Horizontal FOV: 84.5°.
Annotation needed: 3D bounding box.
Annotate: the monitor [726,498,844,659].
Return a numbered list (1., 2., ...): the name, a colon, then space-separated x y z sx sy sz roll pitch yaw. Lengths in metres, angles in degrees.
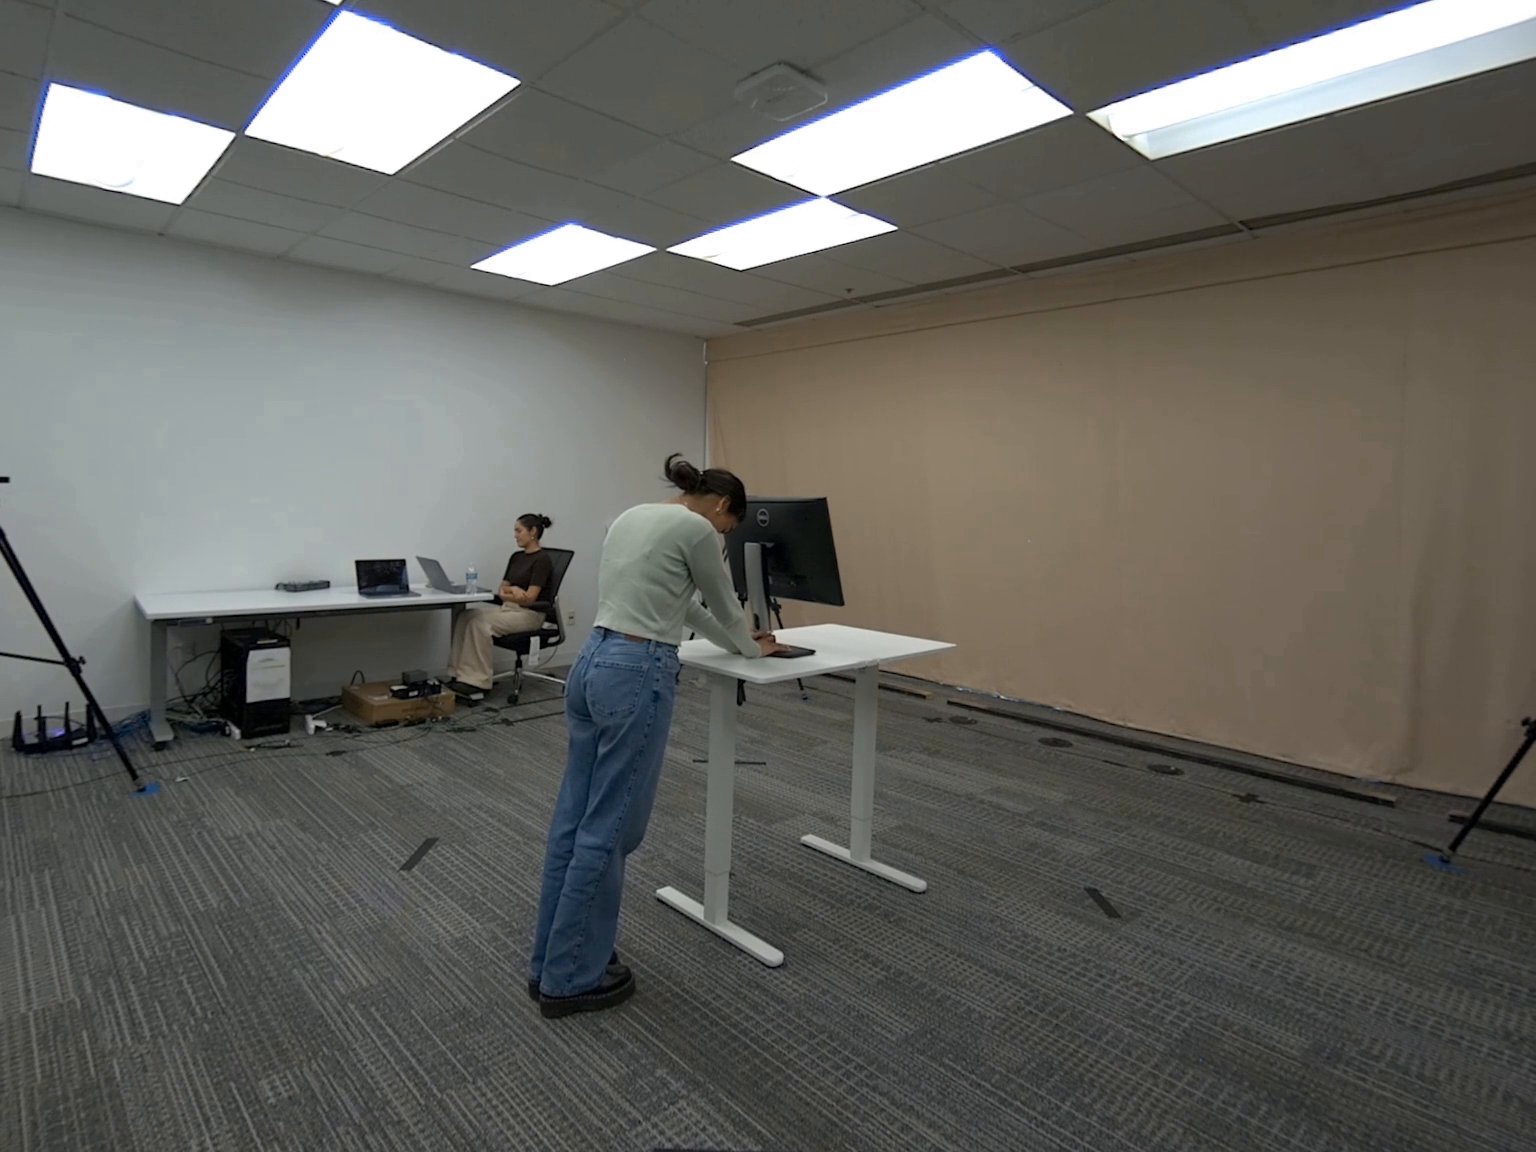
1. monitor: 0.006 -0.003 2.793 0.183 0.521 0.553 0 4 -40
